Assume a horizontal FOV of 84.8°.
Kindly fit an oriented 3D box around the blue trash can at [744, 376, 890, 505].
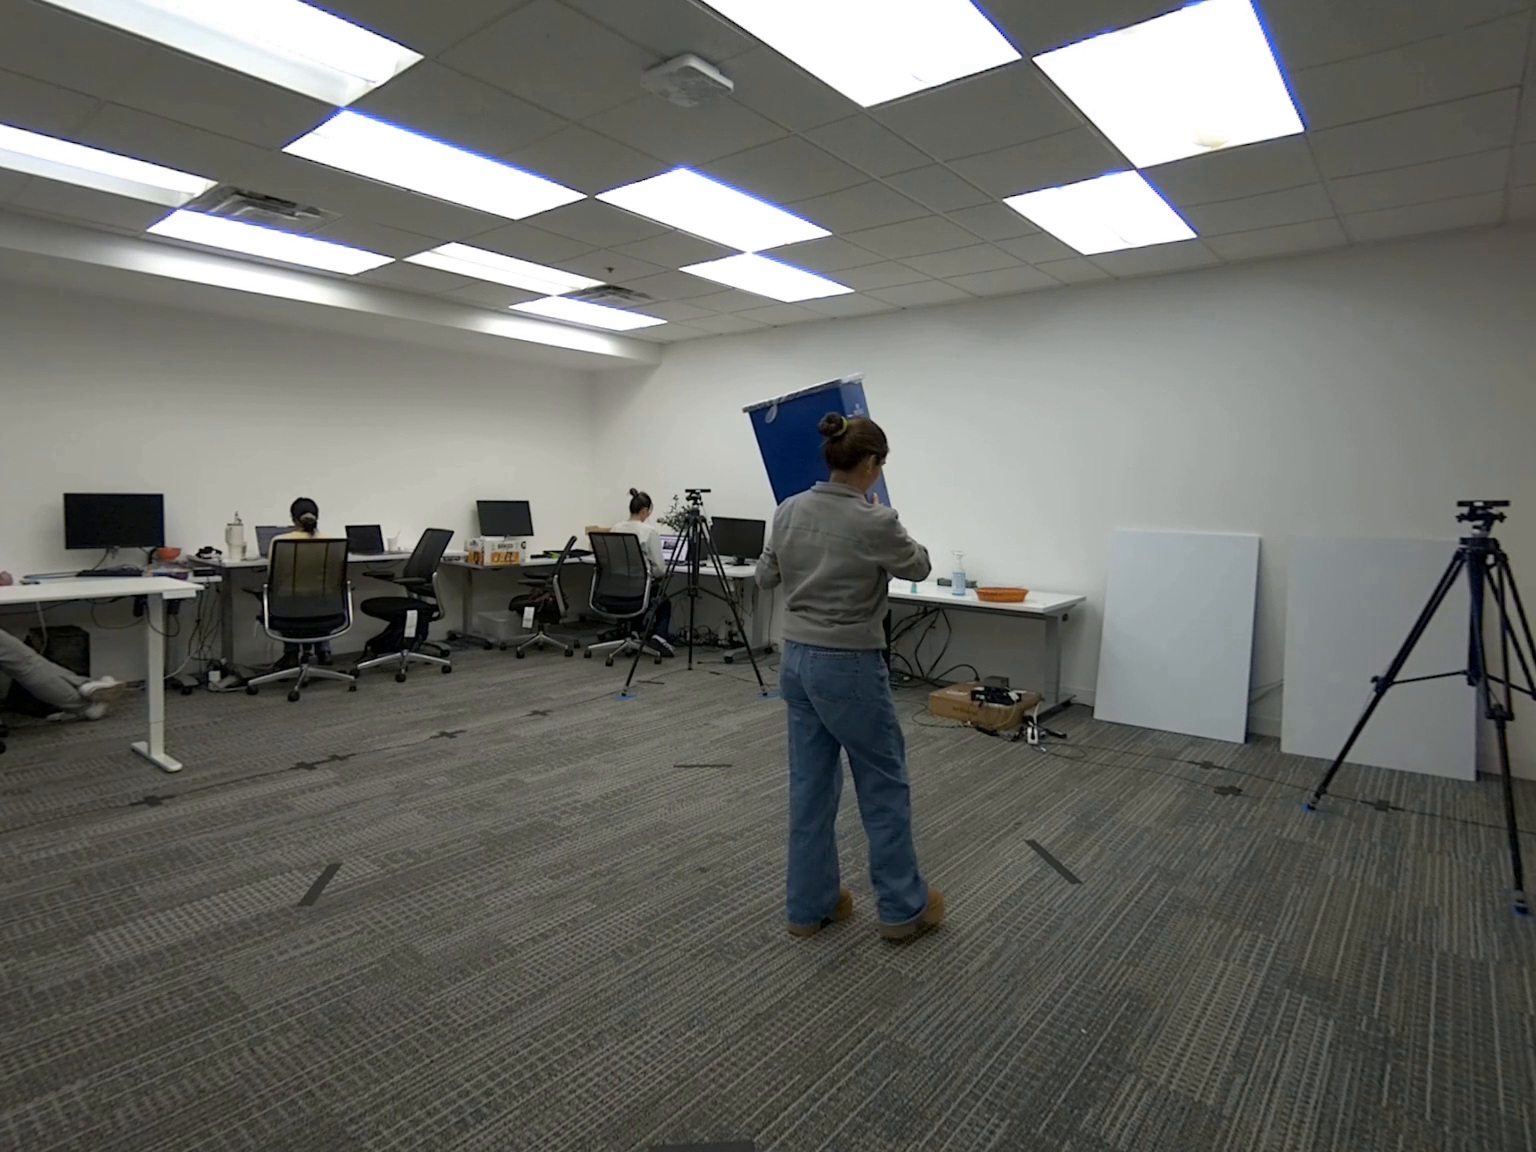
[{"bbox_3d":[0.209,-0.325,3.035,0.385,0.707,0.371,-13,9,25],"label":"blue trash can"}]
